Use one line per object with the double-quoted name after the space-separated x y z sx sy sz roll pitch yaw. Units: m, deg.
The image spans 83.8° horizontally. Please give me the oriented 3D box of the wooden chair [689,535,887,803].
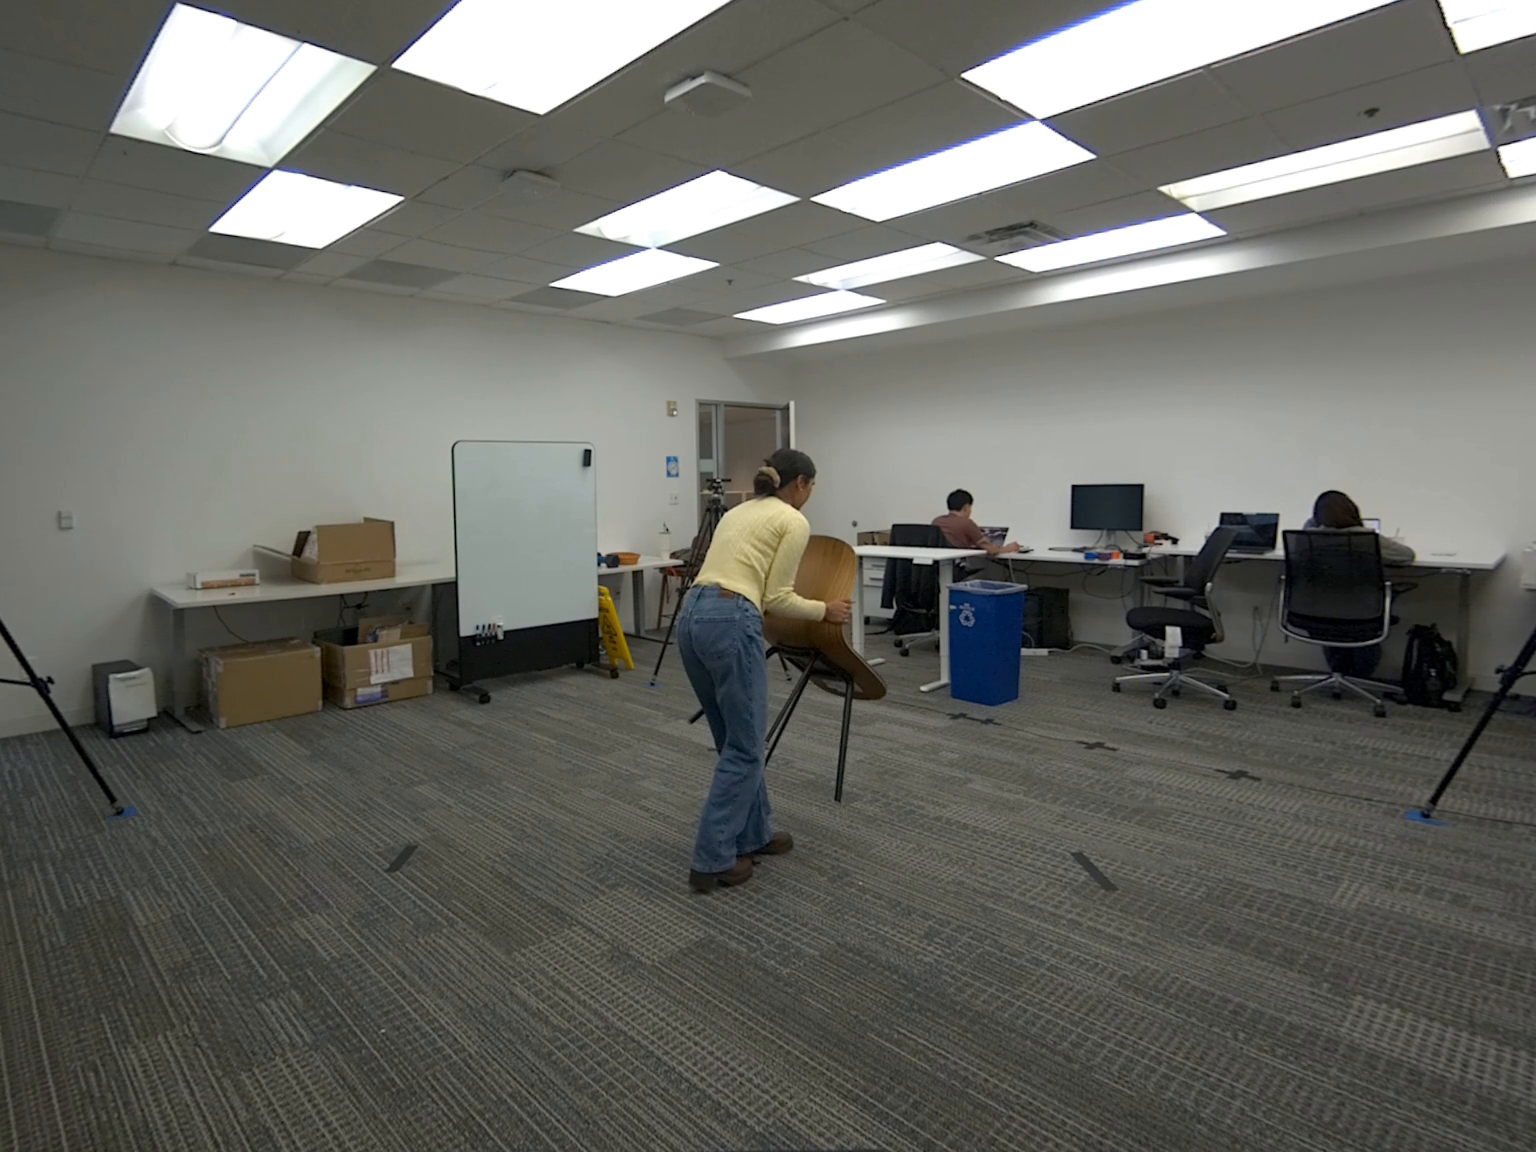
0.176 0.348 3.335 0.492 0.884 0.504 0 -33 49 "wooden chair"
